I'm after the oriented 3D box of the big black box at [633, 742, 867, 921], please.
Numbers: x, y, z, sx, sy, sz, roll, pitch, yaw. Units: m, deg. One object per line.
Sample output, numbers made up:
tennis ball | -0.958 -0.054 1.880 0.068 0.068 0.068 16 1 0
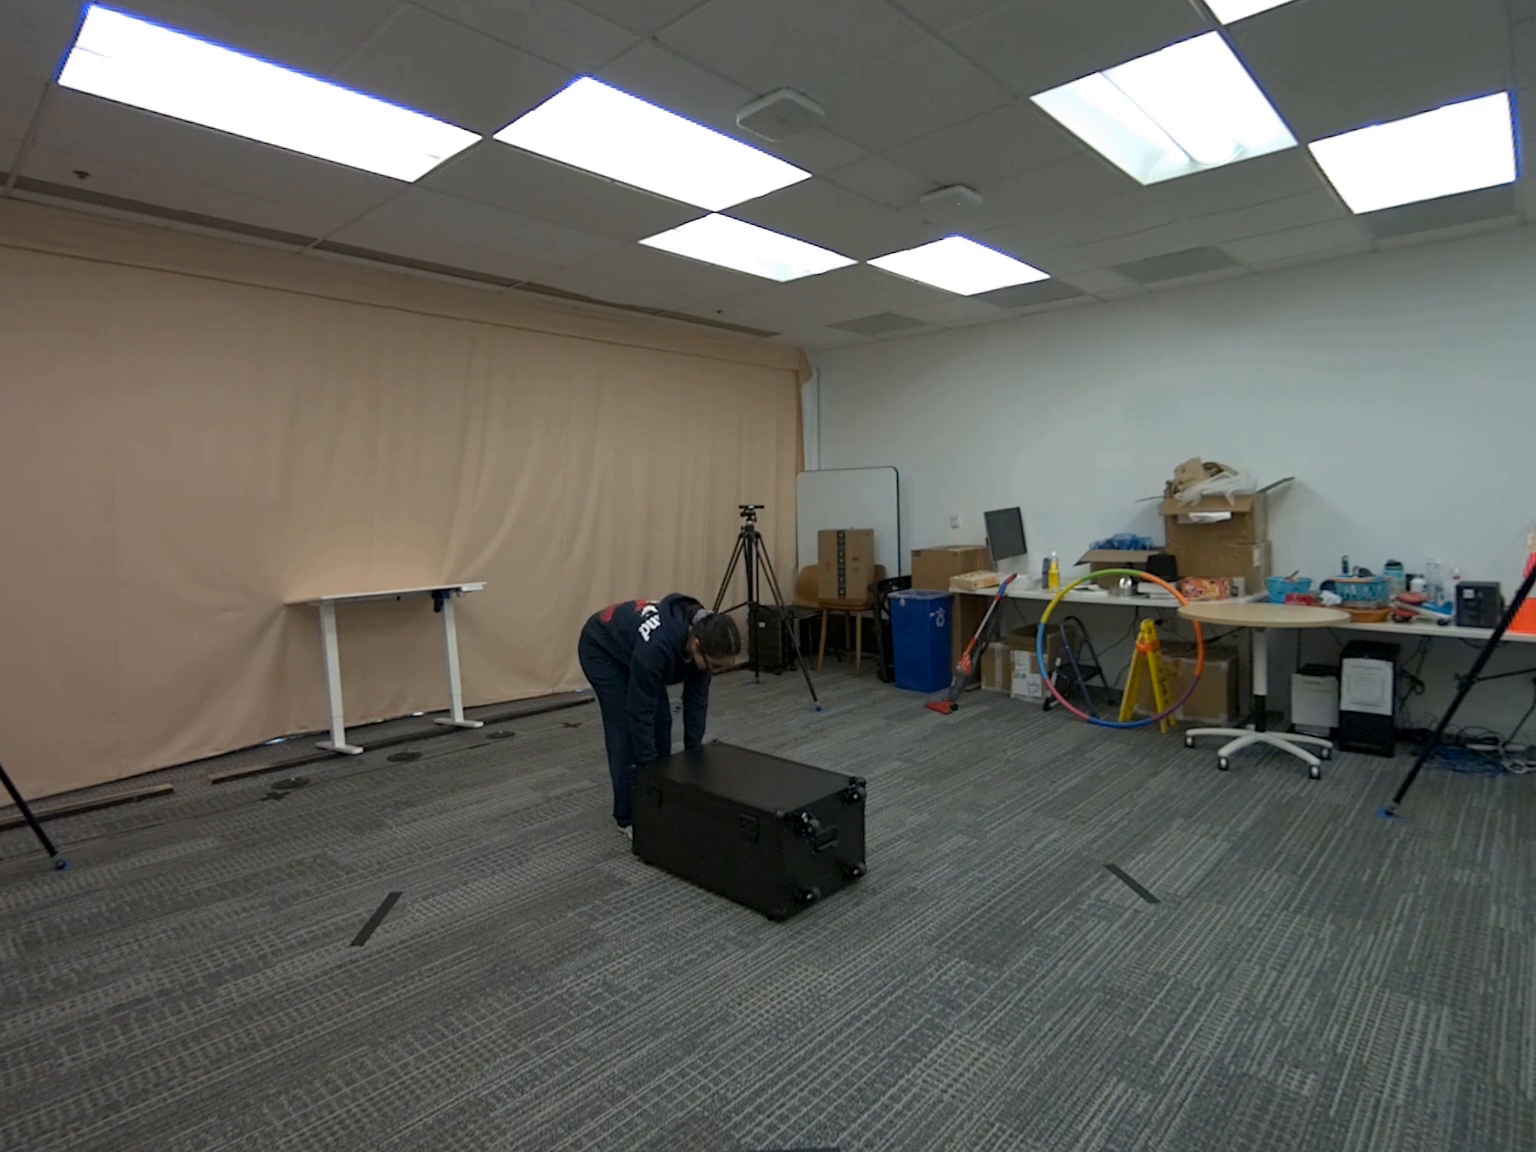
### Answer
big black box | -0.065 0.934 3.184 0.890 0.395 0.506 2 6 43
